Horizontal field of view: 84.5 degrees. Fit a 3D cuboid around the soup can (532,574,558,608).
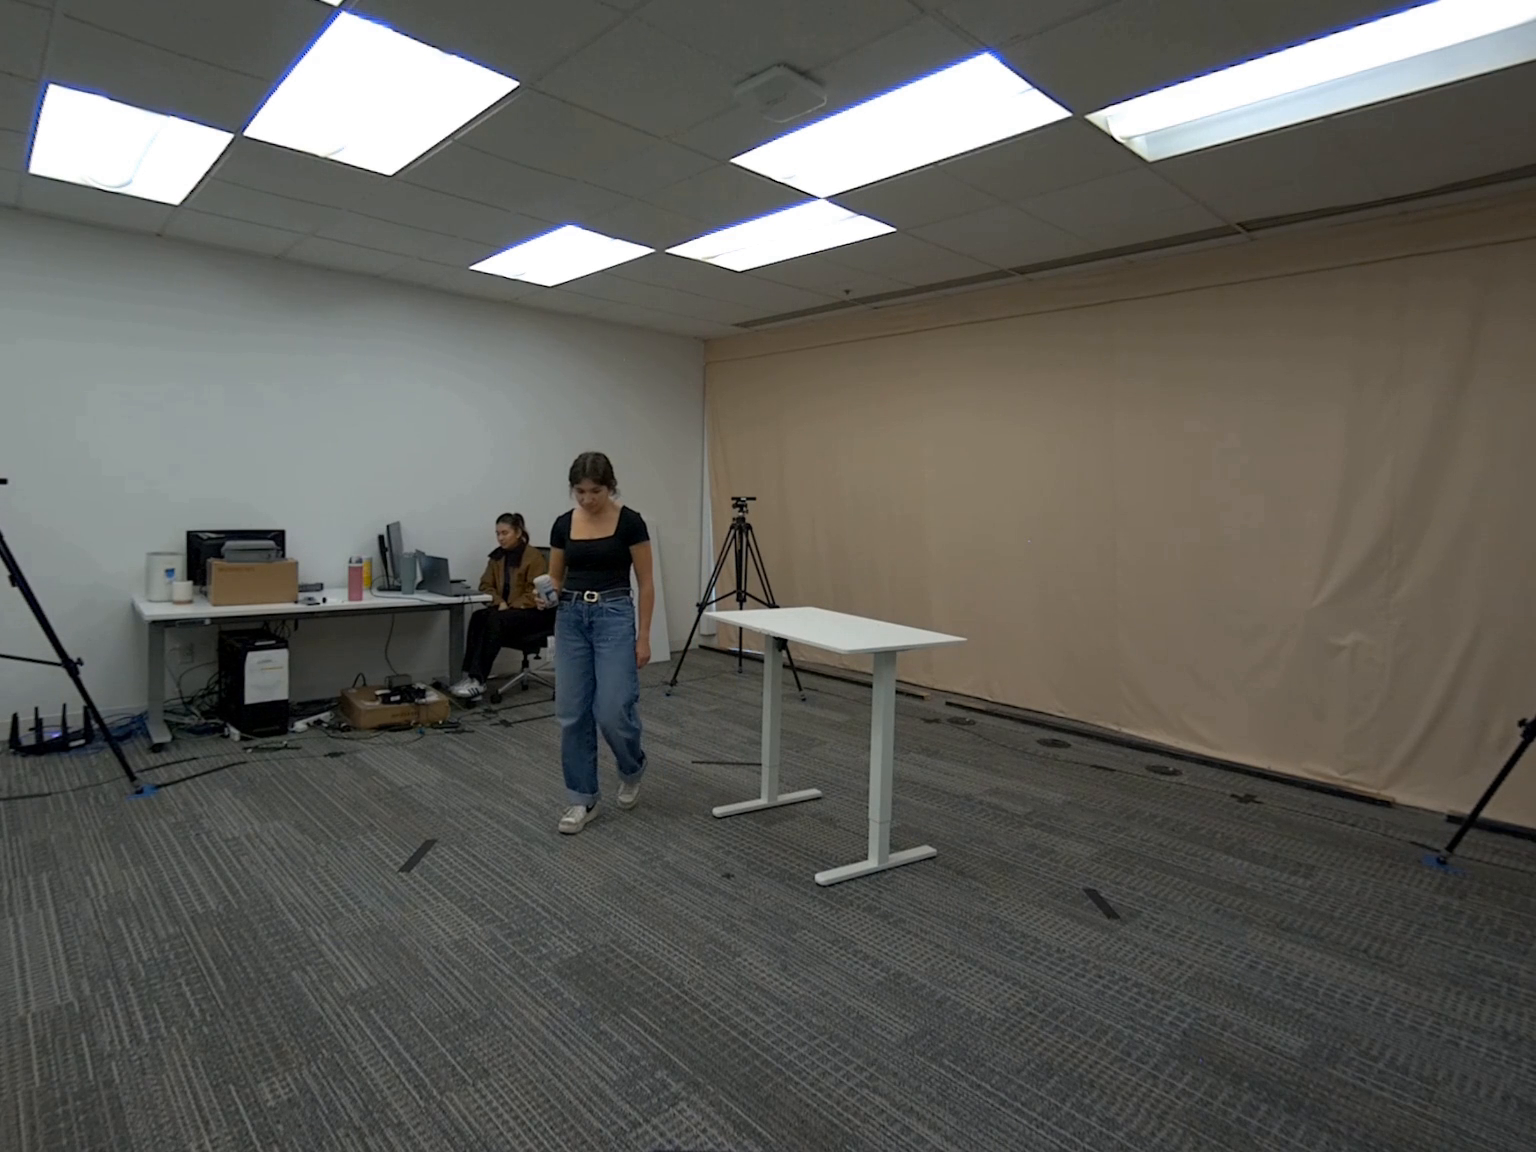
[{"bbox_3d":[-0.887,0.055,3.345,0.067,0.119,0.068,-15,18,4],"label":"soup can"}]
